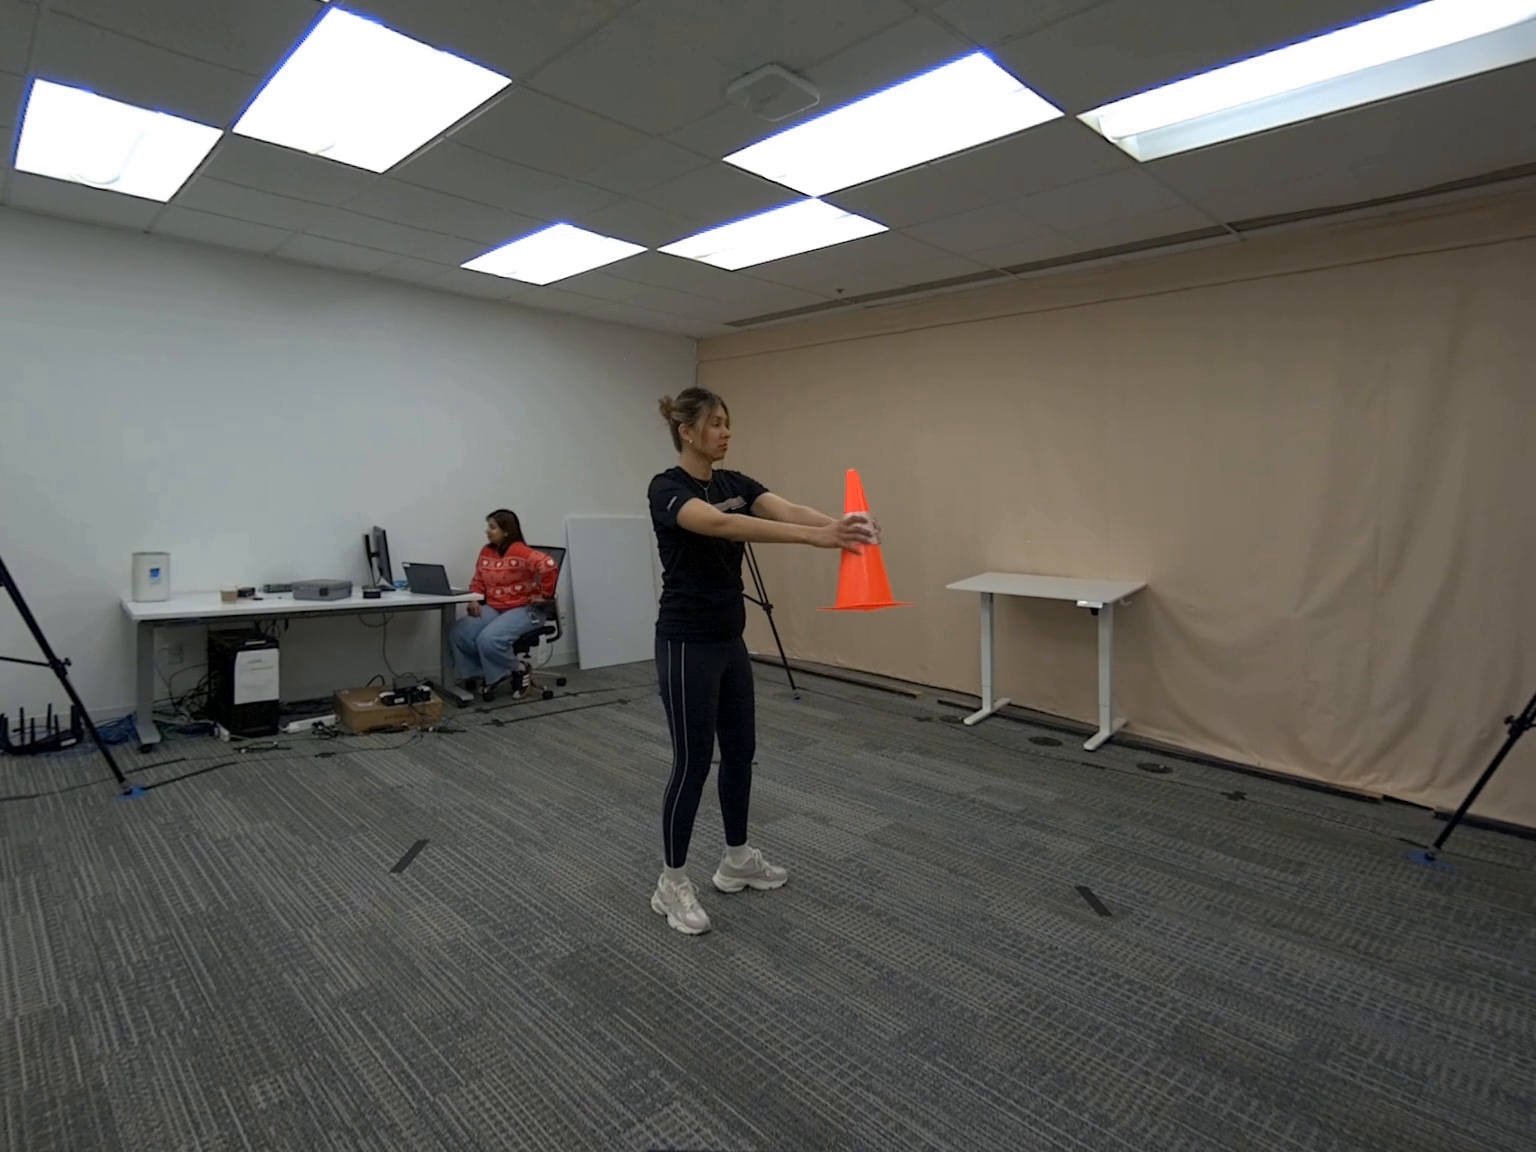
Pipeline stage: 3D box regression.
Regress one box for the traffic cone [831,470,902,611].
[{"bbox_3d":[0.237,-0.102,2.317,0.203,0.386,0.204,-3,-8,-2],"label":"traffic cone"}]
